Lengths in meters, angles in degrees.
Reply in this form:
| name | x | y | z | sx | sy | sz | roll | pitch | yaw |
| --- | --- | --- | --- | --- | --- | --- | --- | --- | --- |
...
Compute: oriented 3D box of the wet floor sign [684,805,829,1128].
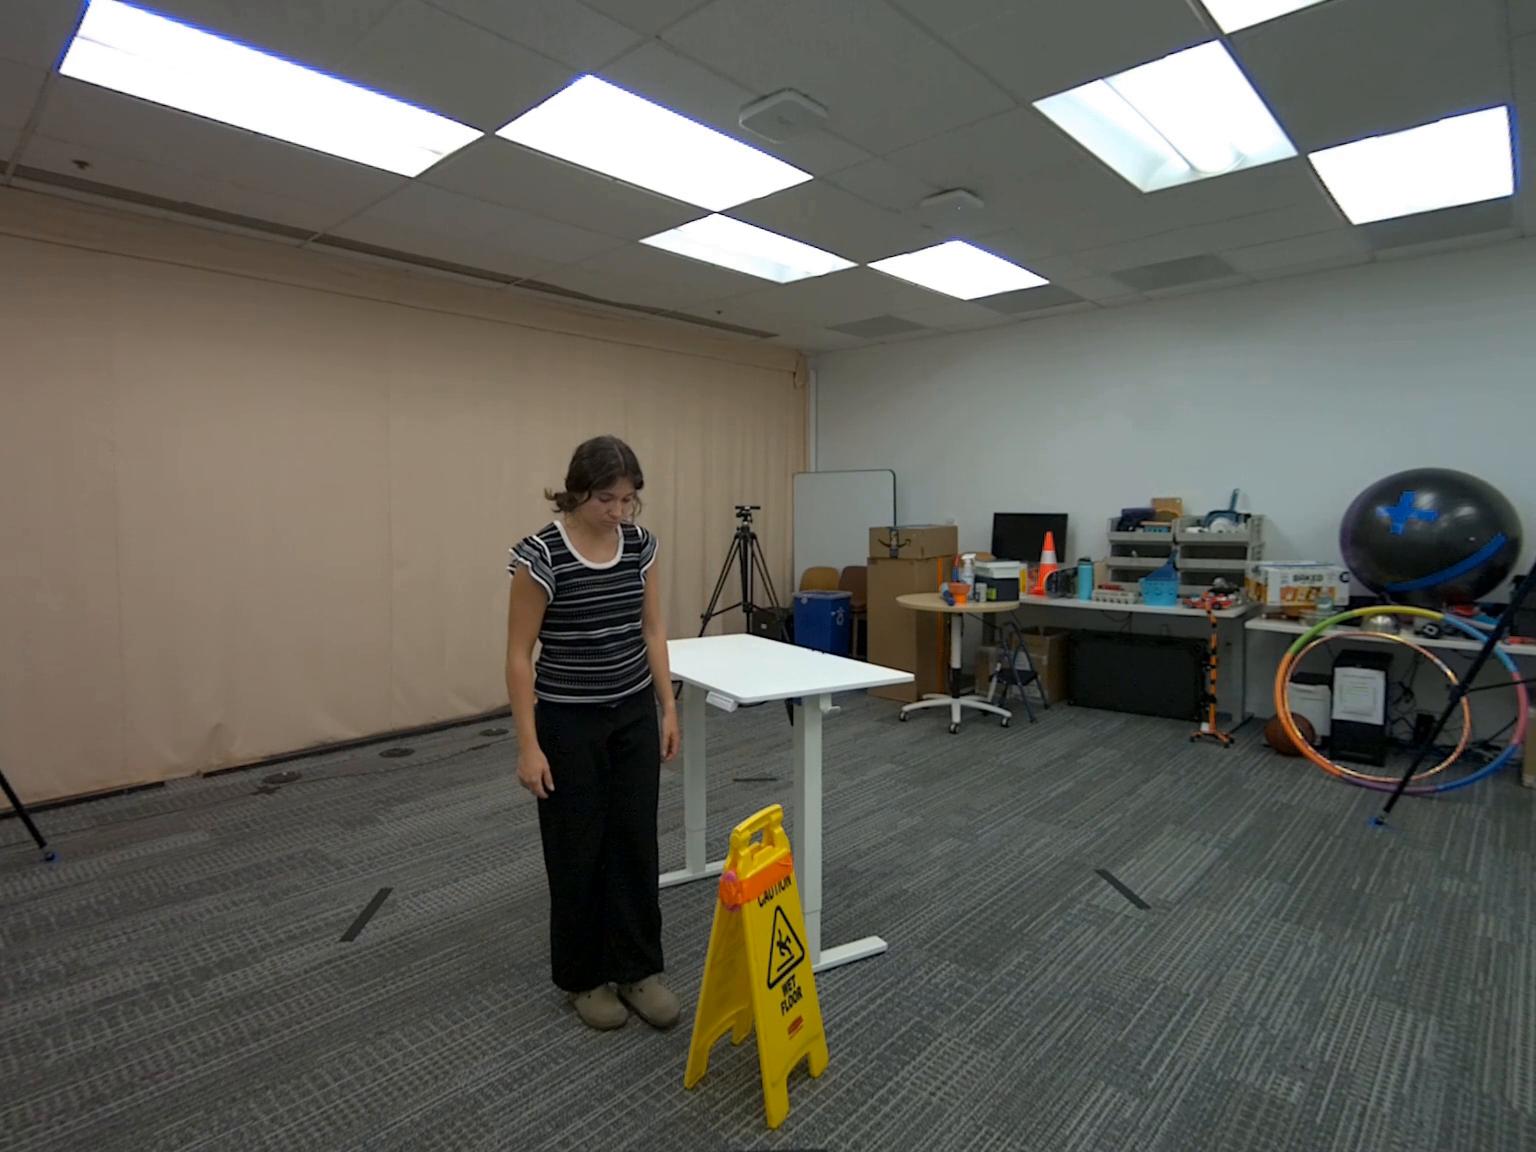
| name | x | y | z | sx | sy | sz | roll | pitch | yaw |
| --- | --- | --- | --- | --- | --- | --- | --- | --- | --- |
| wet floor sign | -0.021 | 0.903 | 2.032 | 0.298 | 0.645 | 0.274 | 2 | 4 | 33 |
